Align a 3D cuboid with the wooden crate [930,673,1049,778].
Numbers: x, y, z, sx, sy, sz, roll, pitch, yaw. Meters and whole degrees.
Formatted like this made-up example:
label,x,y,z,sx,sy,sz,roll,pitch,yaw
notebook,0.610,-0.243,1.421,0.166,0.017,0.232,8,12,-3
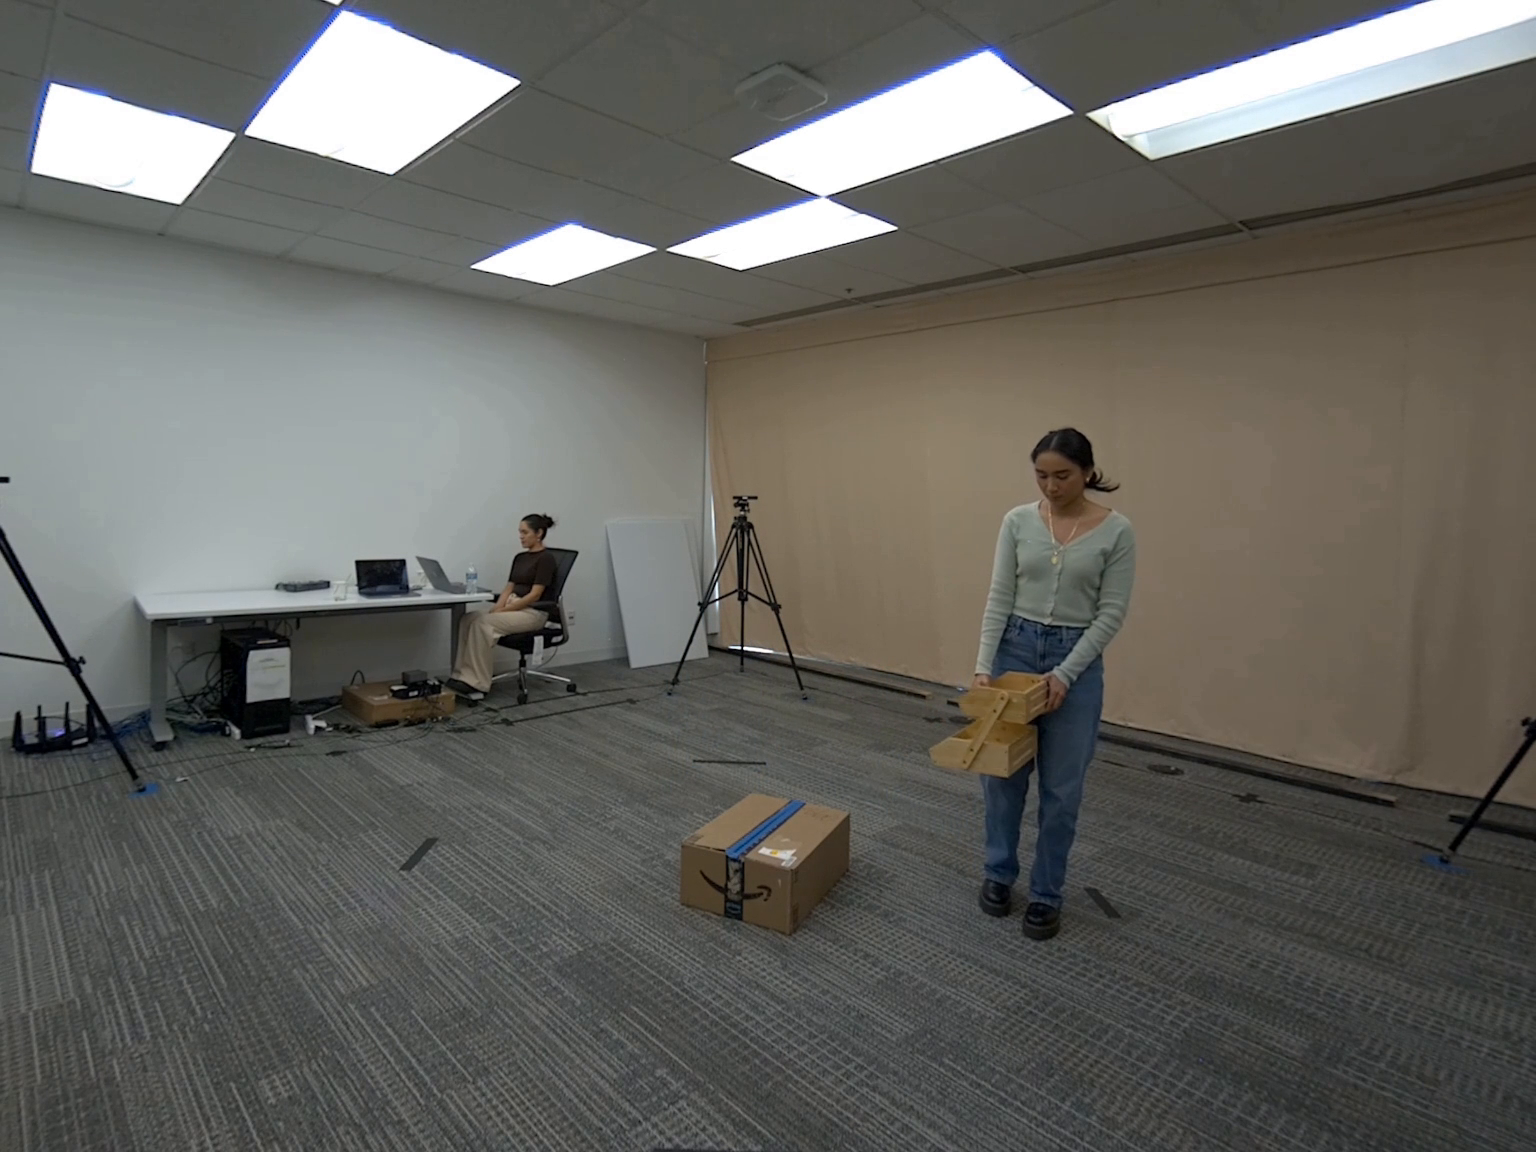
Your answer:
label,x,y,z,sx,sy,sz,roll,pitch,yaw
wooden crate,0.696,0.454,2.667,0.309,0.273,0.318,2,4,33
